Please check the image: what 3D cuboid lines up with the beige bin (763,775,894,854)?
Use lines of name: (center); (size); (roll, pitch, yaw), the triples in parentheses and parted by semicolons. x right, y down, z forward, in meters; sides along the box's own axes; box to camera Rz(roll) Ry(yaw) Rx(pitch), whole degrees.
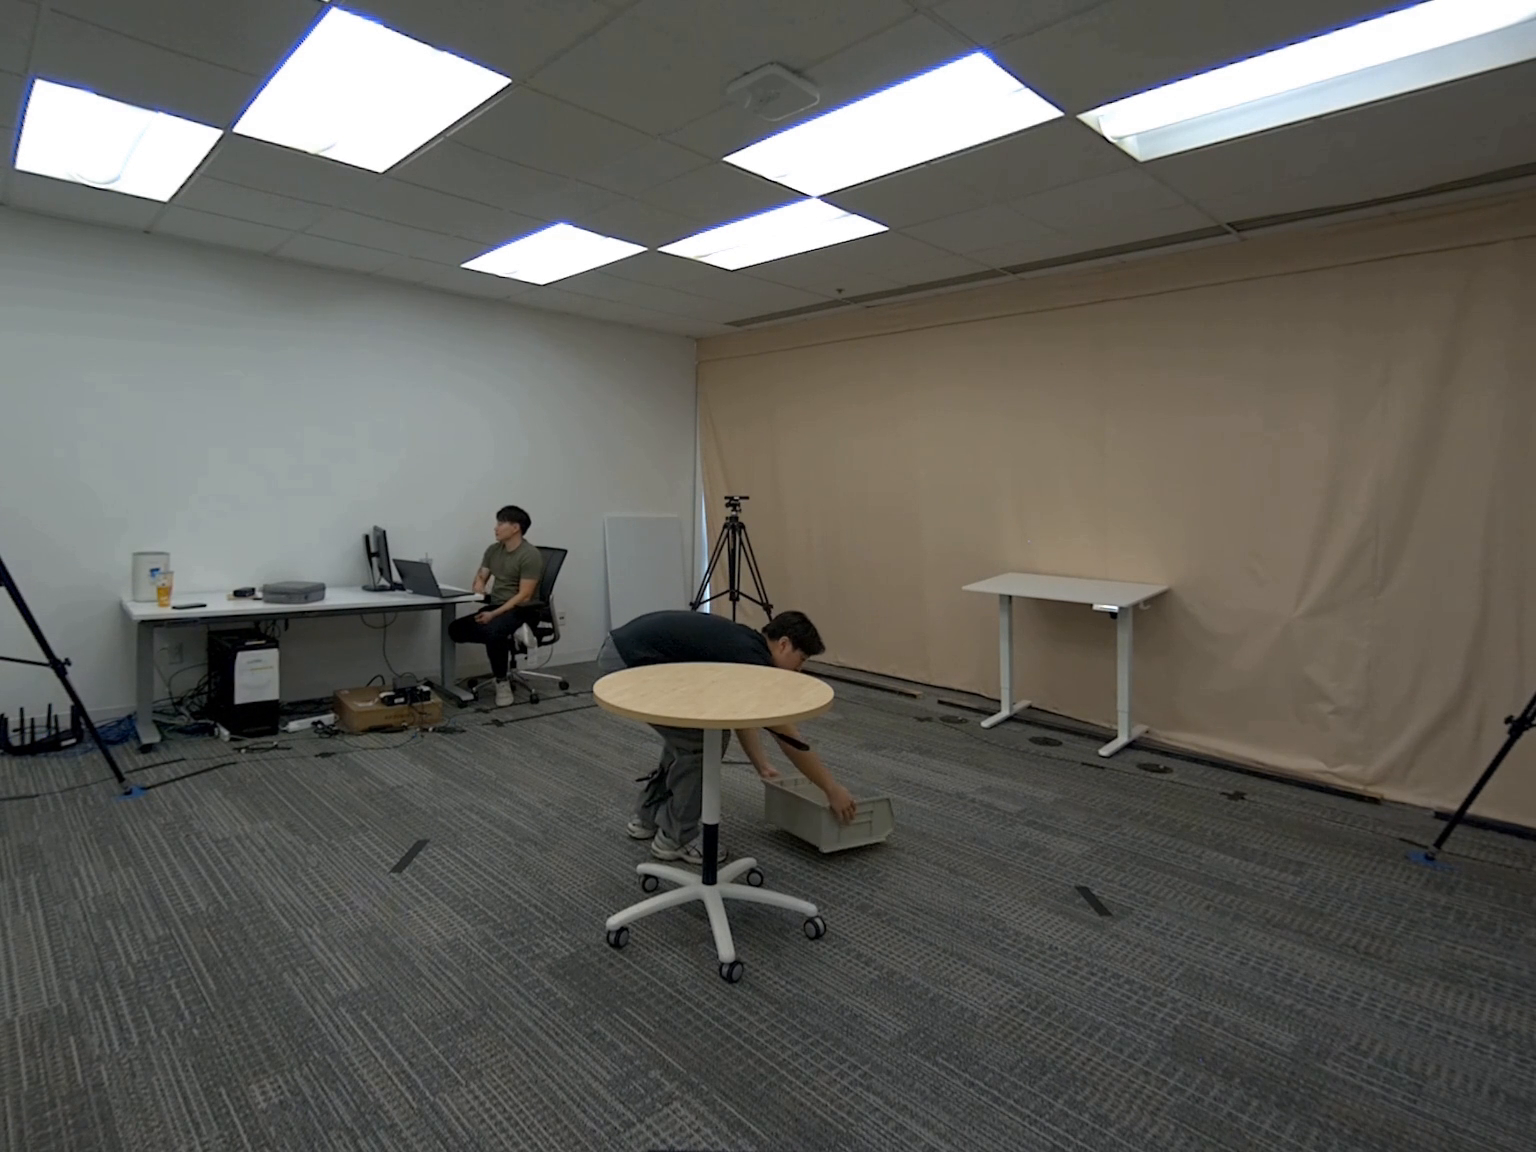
beige bin: (0.238, 0.953, 3.443); (0.369, 0.189, 0.432); (-1, 3, -35)
